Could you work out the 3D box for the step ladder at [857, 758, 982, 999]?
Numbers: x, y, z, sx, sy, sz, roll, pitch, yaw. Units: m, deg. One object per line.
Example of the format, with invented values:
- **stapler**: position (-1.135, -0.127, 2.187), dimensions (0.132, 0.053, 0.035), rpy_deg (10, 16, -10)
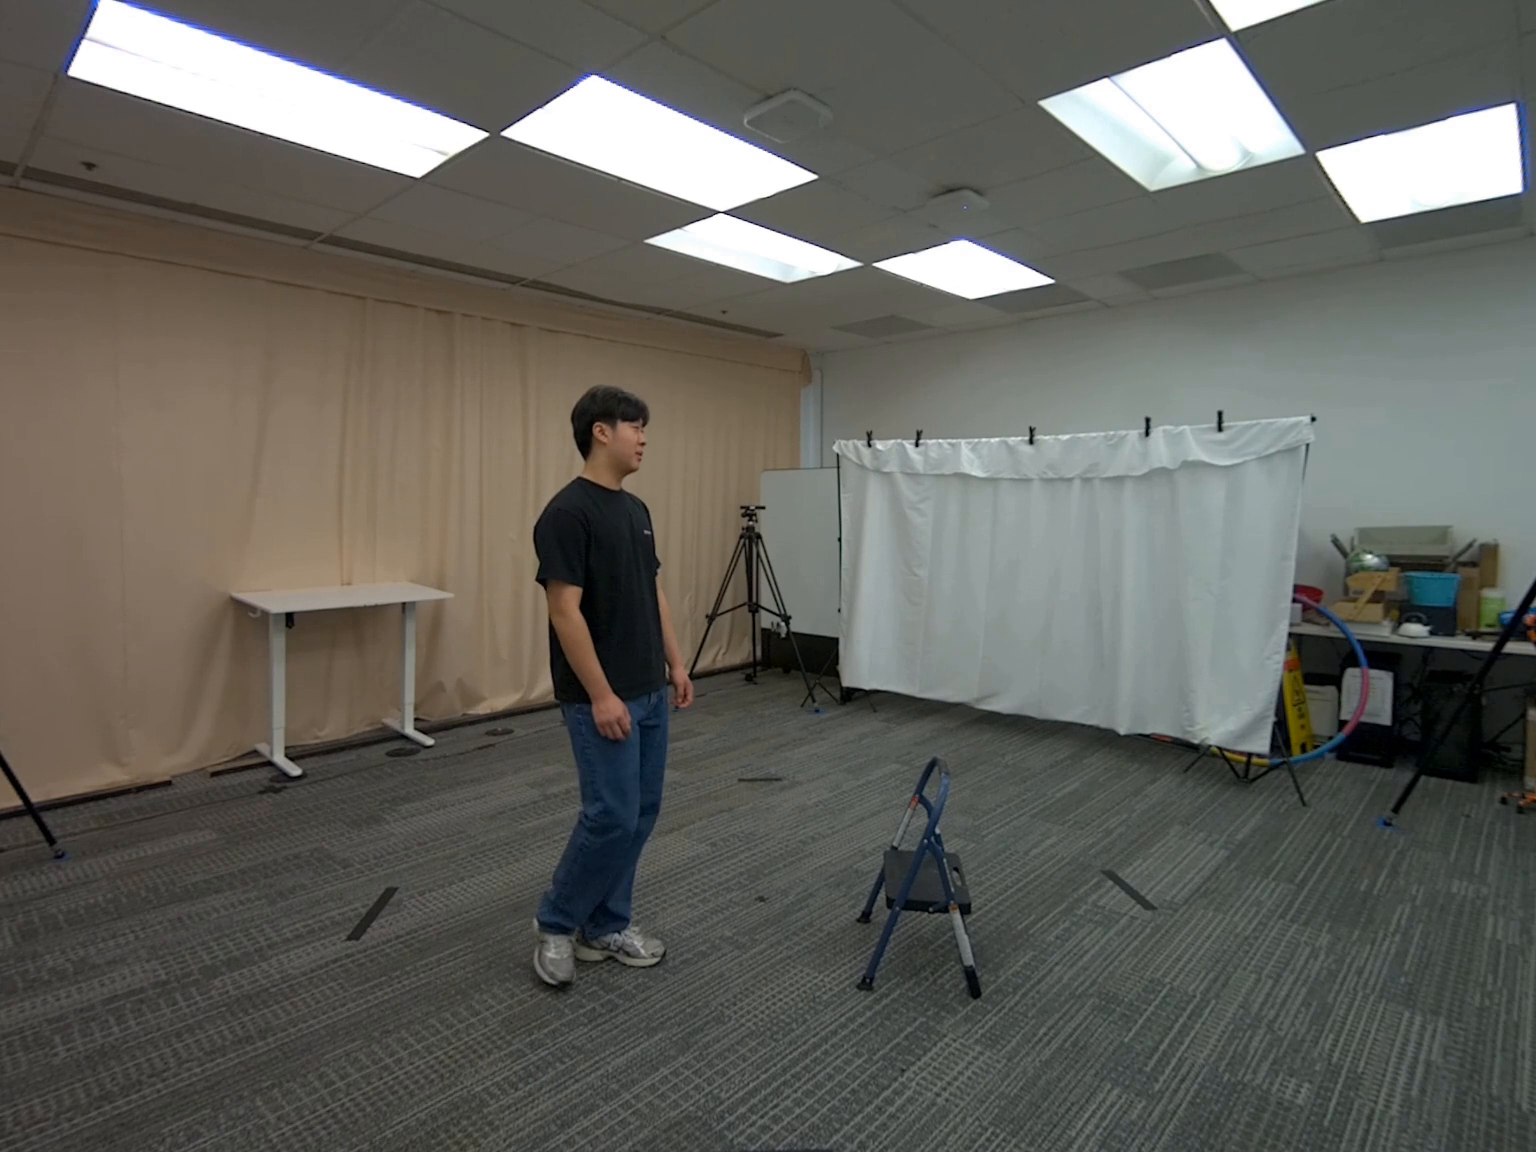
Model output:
- **step ladder**: position (0.460, 0.875, 2.586), dimensions (0.353, 0.605, 0.427), rpy_deg (0, 3, 8)
